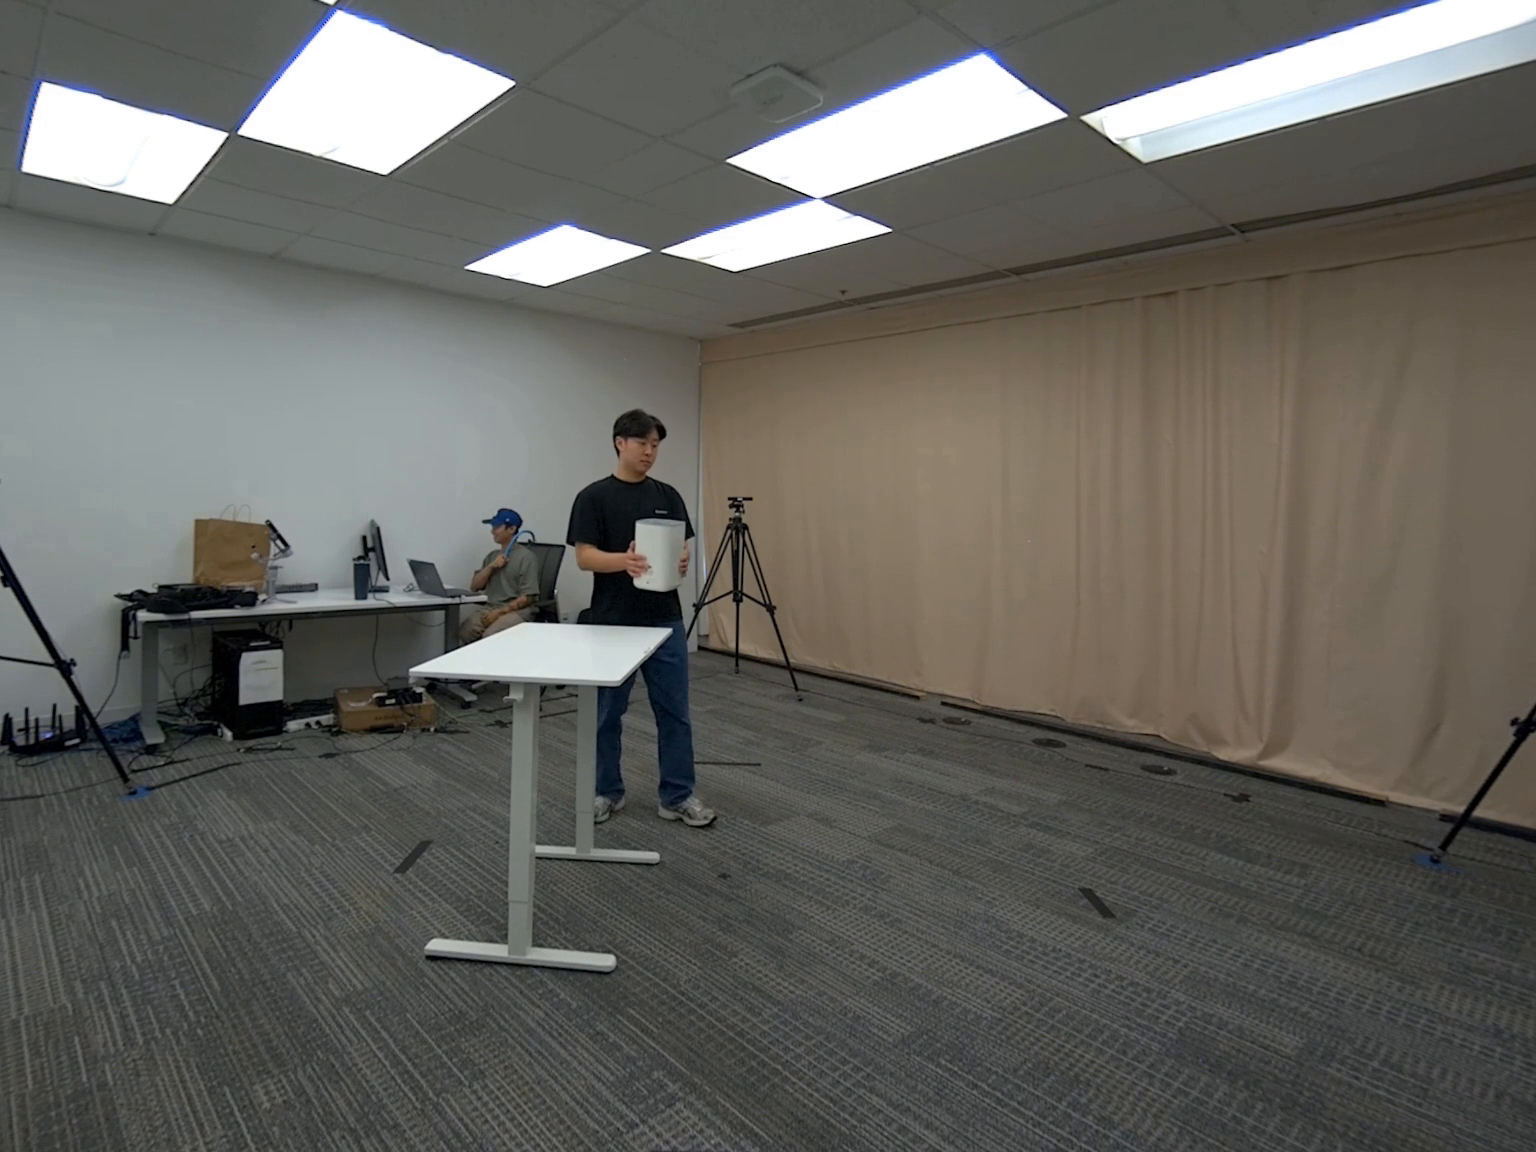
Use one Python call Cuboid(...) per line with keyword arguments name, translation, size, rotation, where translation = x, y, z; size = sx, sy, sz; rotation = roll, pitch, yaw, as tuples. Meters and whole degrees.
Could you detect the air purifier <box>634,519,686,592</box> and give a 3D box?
Cuboid(name="air purifier", translation=(-0.435, -0.085, 3.326), size=(0.174, 0.264, 0.170), rotation=(7, 9, 19))
